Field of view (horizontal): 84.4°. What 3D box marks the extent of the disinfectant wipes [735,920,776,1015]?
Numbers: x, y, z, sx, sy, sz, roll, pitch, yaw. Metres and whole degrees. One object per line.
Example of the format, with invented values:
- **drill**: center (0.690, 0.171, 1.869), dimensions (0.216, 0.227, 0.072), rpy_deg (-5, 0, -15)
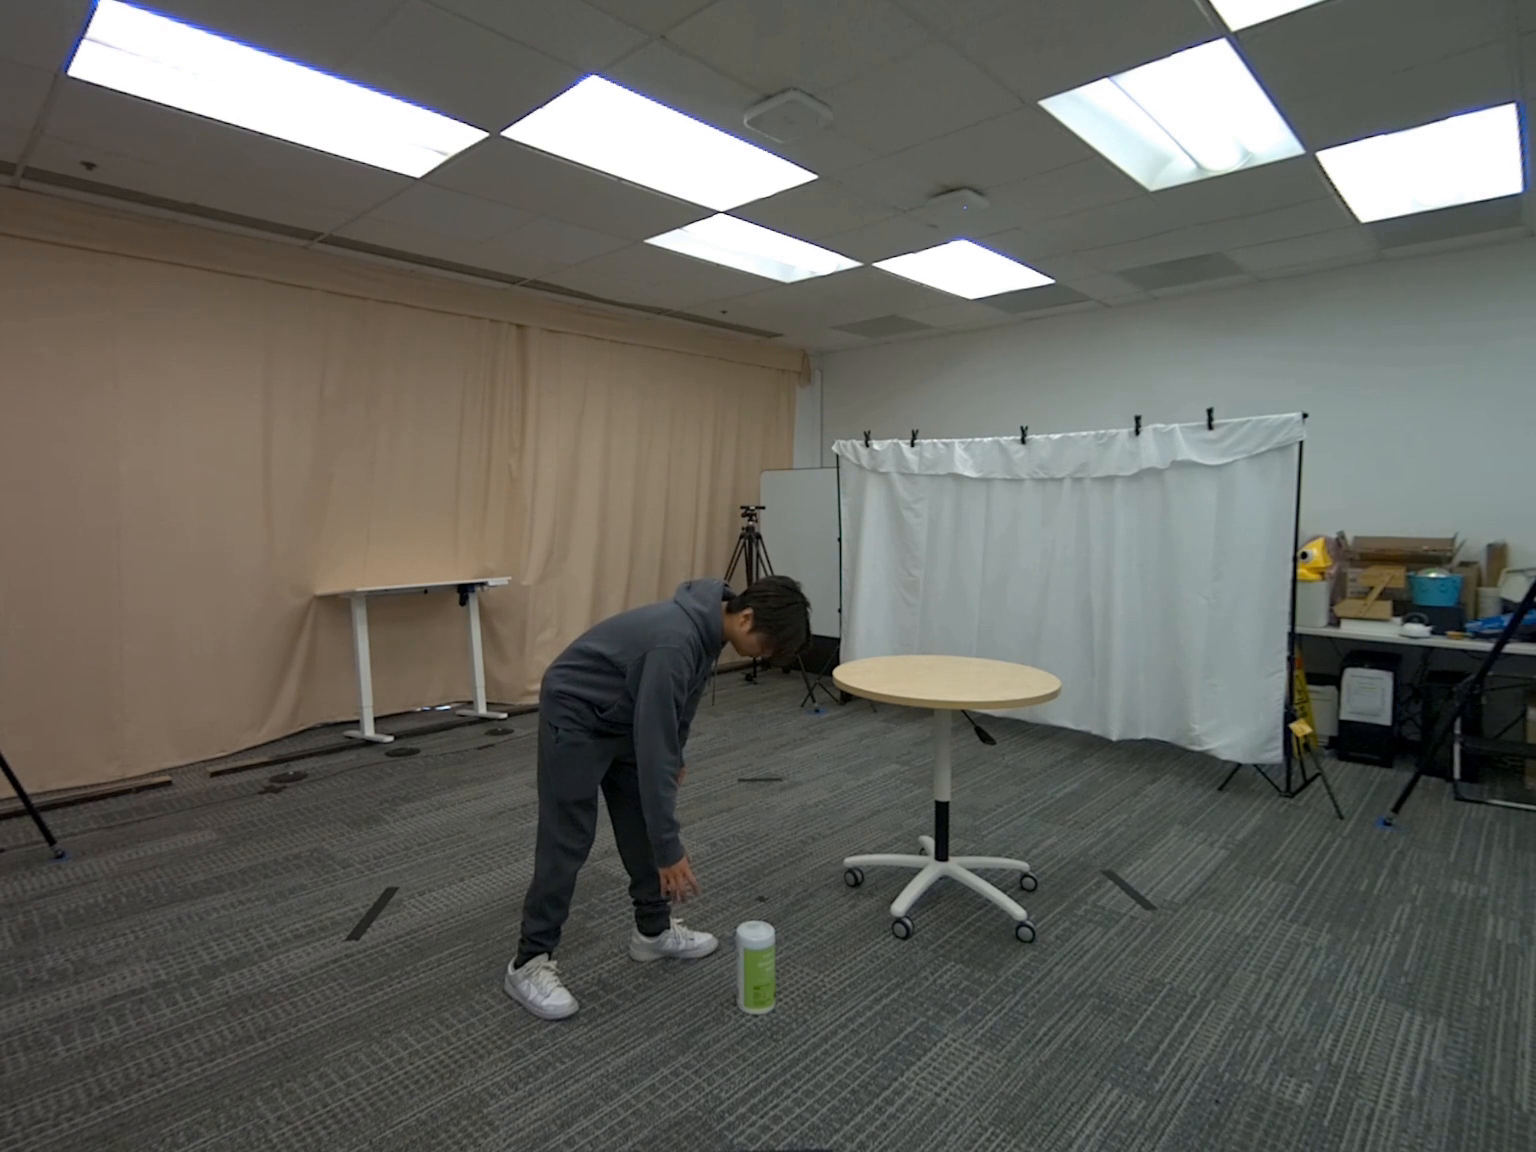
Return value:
- **disinfectant wipes**: center (-0.033, 1.093, 2.334), dimensions (0.118, 0.217, 0.118), rpy_deg (1, 4, -2)
